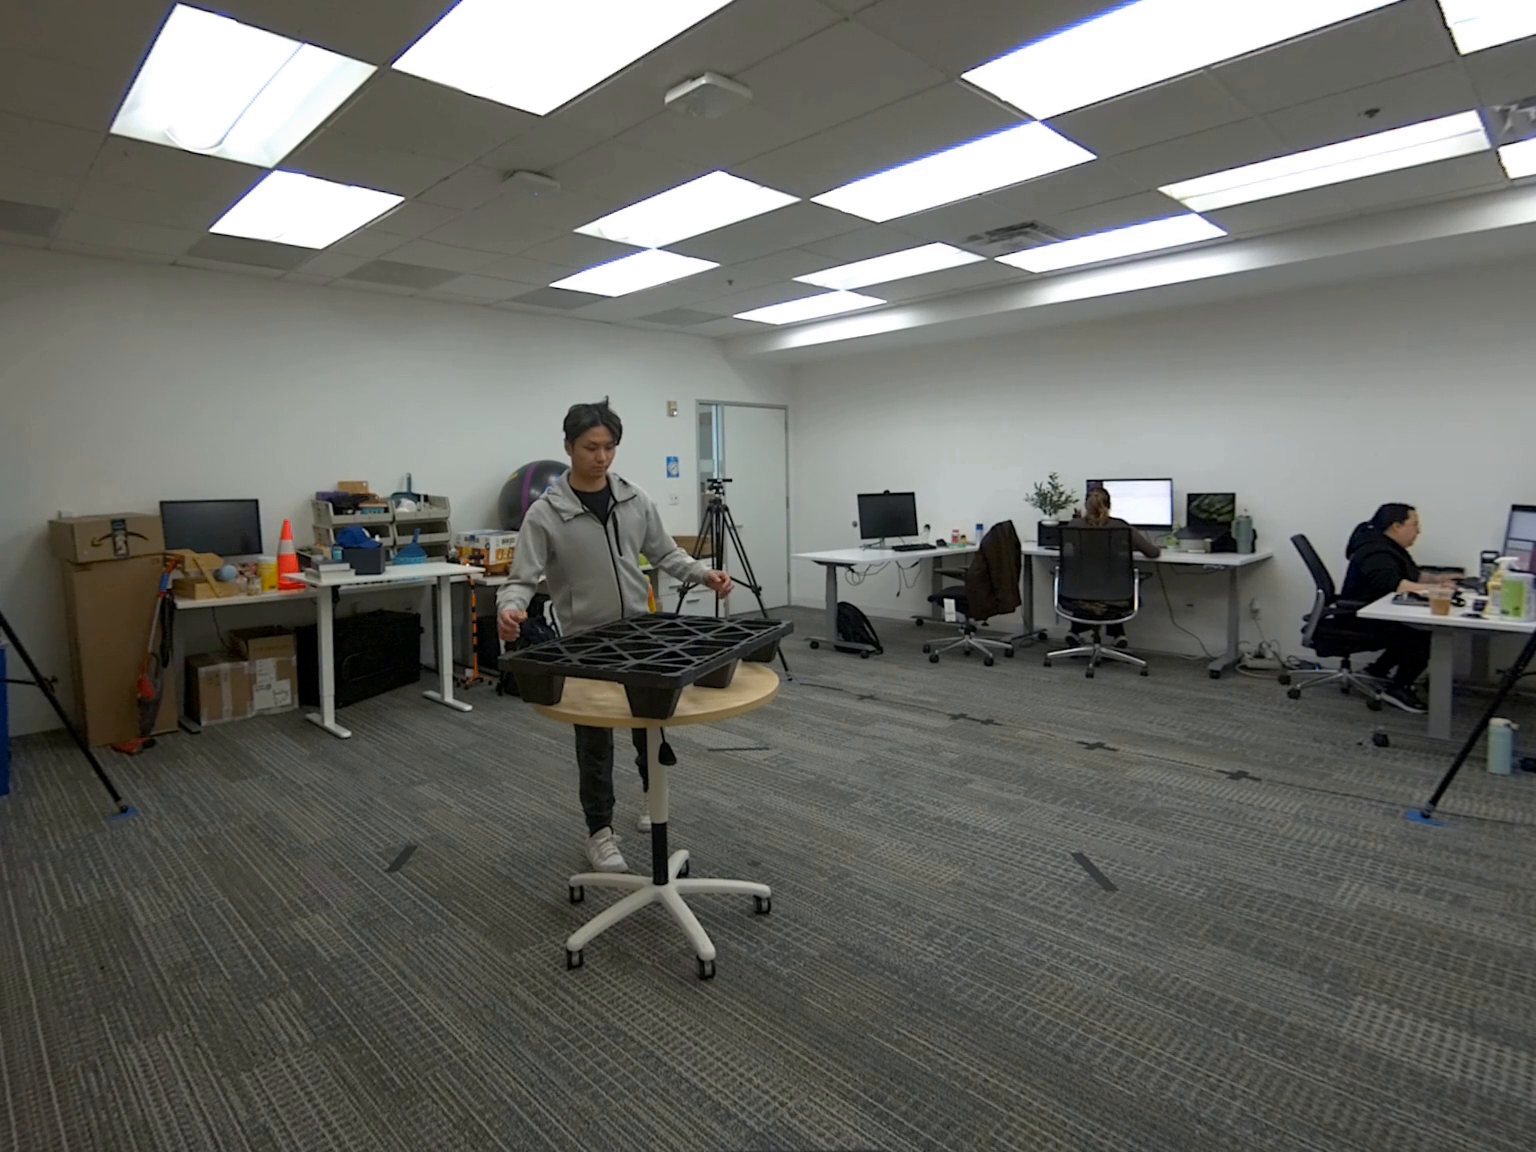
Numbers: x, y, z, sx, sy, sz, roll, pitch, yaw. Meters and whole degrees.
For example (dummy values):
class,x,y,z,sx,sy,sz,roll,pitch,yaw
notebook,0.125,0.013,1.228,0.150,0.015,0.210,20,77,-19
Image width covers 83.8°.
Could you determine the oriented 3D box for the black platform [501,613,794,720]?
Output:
class,x,y,z,sx,sy,sz,roll,pitch,yaw
black platform,-0.344,0.253,2.639,0.620,0.142,0.790,2,7,26
